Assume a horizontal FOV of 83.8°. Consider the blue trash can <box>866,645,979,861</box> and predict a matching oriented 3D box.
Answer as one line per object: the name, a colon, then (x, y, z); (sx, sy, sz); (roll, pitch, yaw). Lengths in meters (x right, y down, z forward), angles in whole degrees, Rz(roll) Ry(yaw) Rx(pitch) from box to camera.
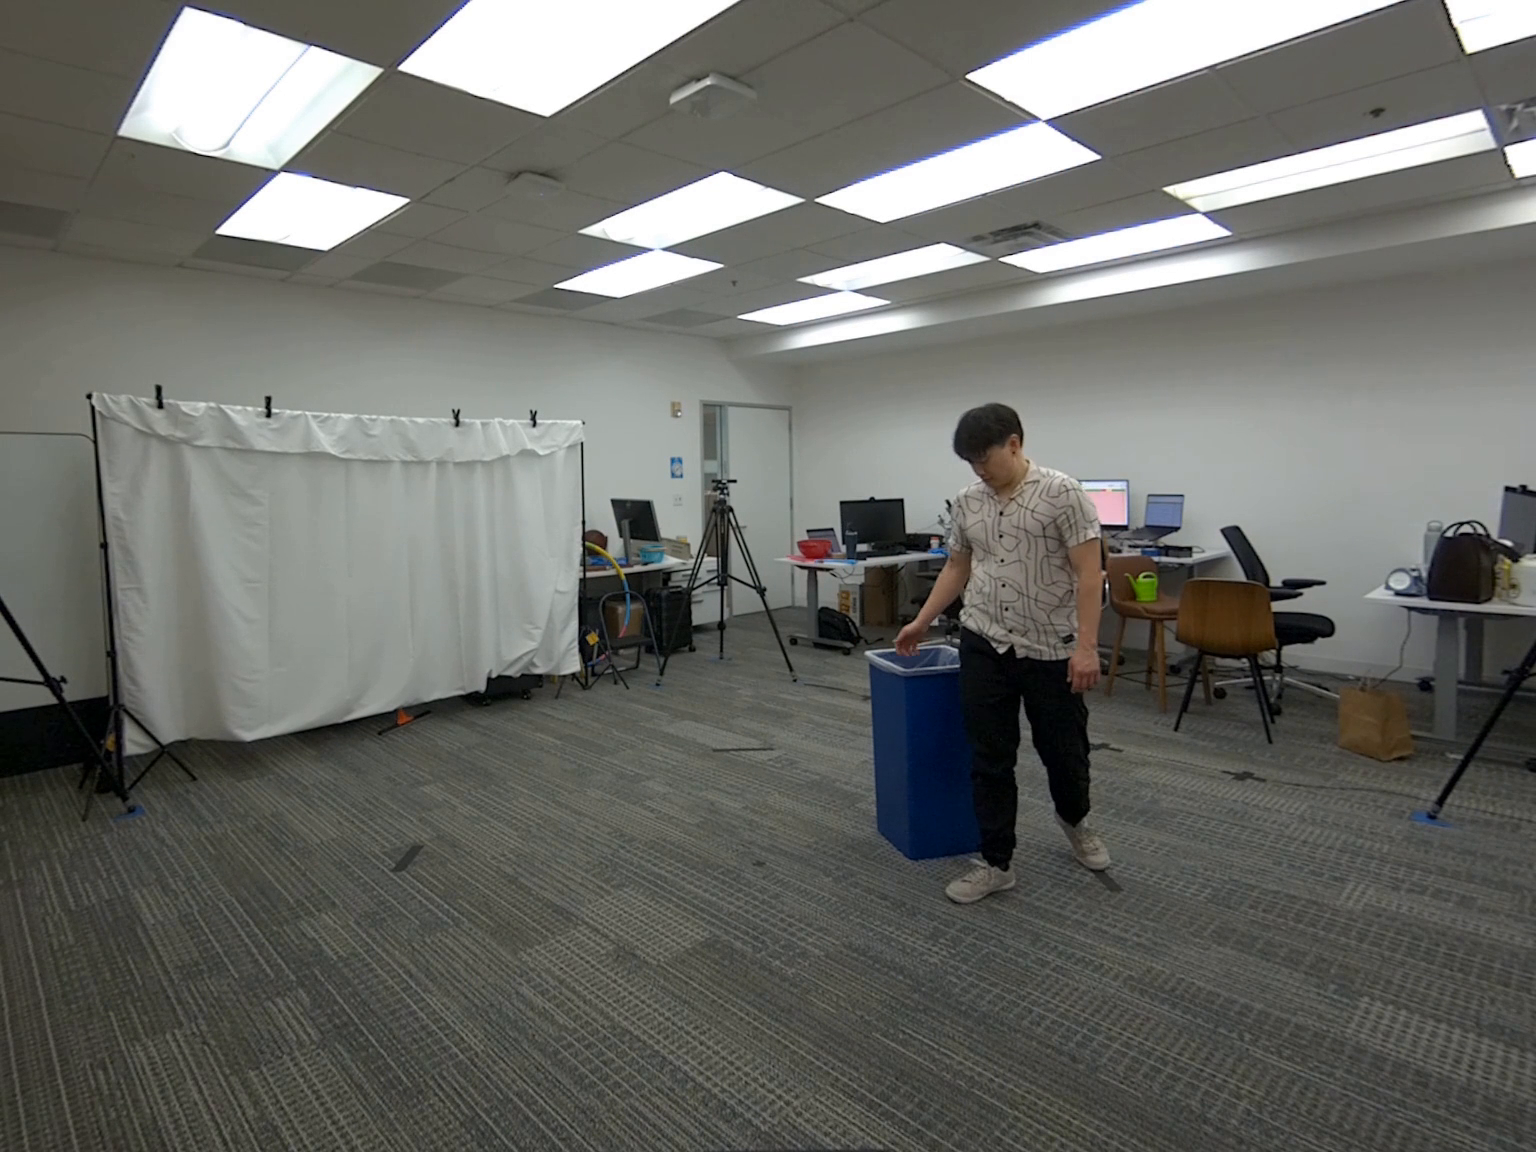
blue trash can: (0.607, 0.662, 3.265); (0.369, 0.711, 0.385); (-2, 4, -16)
